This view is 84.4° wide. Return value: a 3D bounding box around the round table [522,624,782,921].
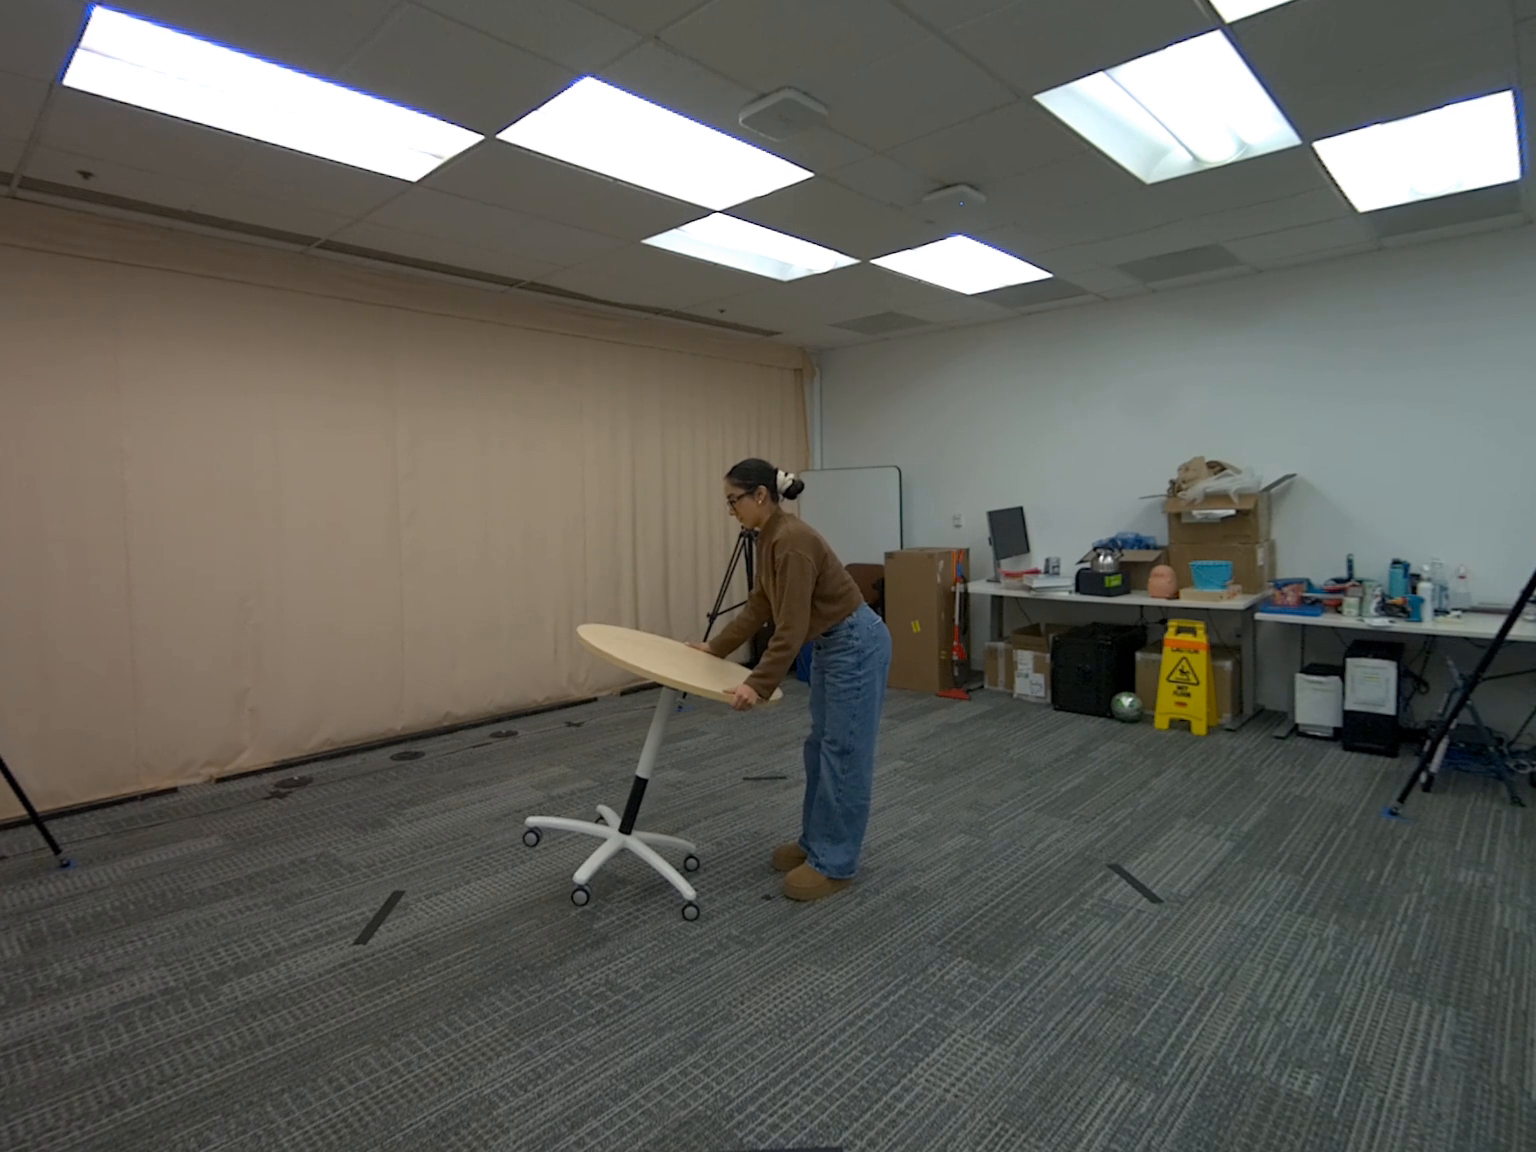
[{"bbox_3d":[-0.431,0.687,3.024,0.763,0.793,0.766,17,2,-3],"label":"round table"}]
